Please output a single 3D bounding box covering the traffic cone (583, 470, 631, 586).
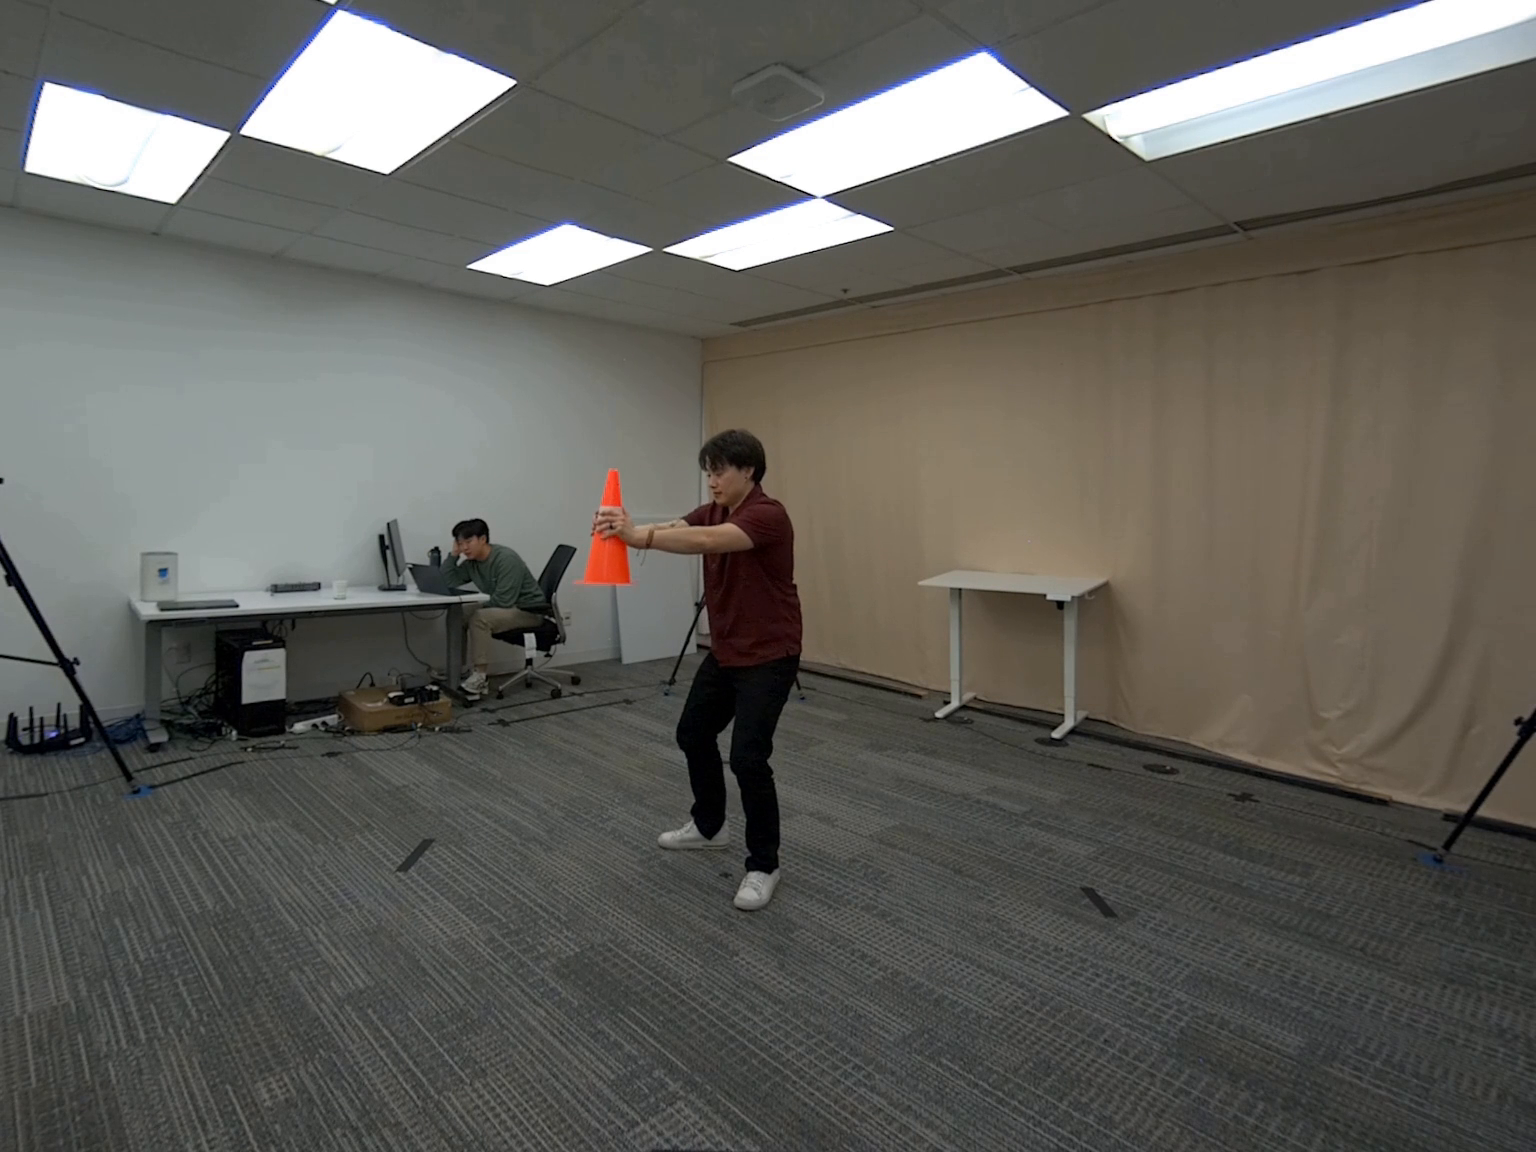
[{"bbox_3d":[-0.539,-0.162,2.823,0.208,0.383,0.201,4,2,17],"label":"traffic cone"}]
